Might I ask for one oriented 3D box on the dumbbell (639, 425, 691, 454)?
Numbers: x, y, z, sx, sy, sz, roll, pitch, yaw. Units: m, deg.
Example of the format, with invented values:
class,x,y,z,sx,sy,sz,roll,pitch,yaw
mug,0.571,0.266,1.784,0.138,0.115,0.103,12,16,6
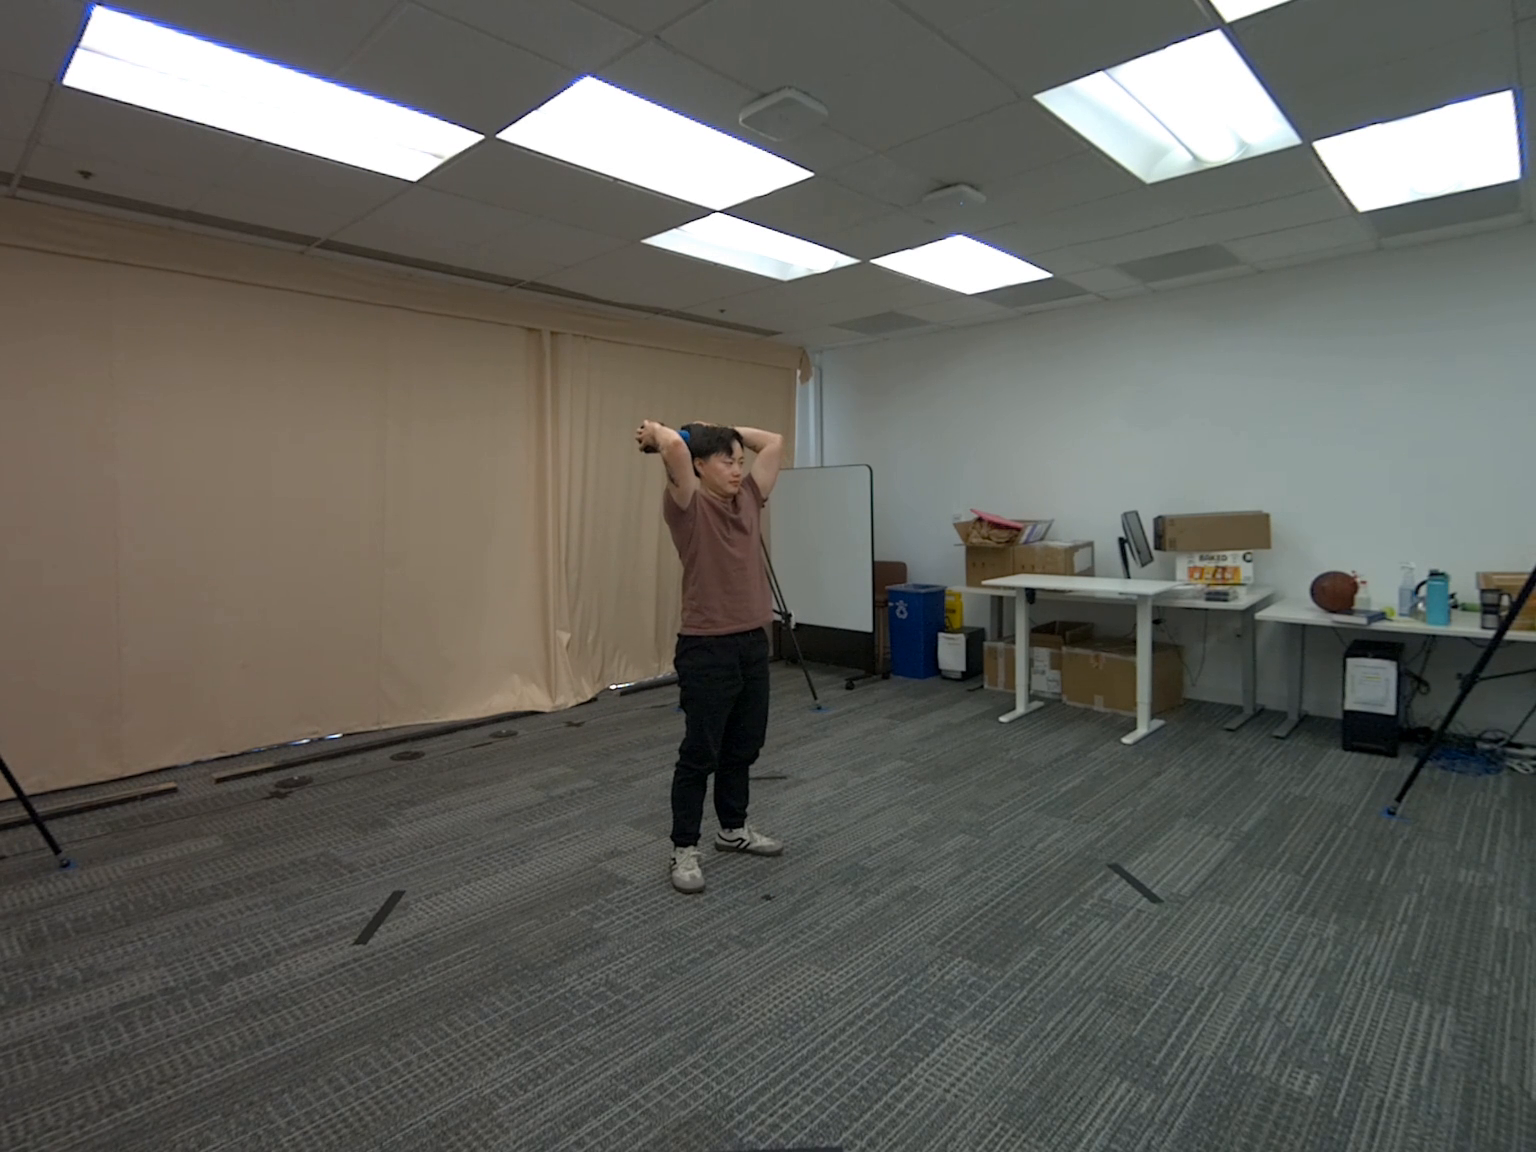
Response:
class,x,y,z,sx,sy,sz,roll,pitch,yaw
dumbbell,-0.352,-0.553,3.291,0.127,0.108,0.285,-4,4,42
